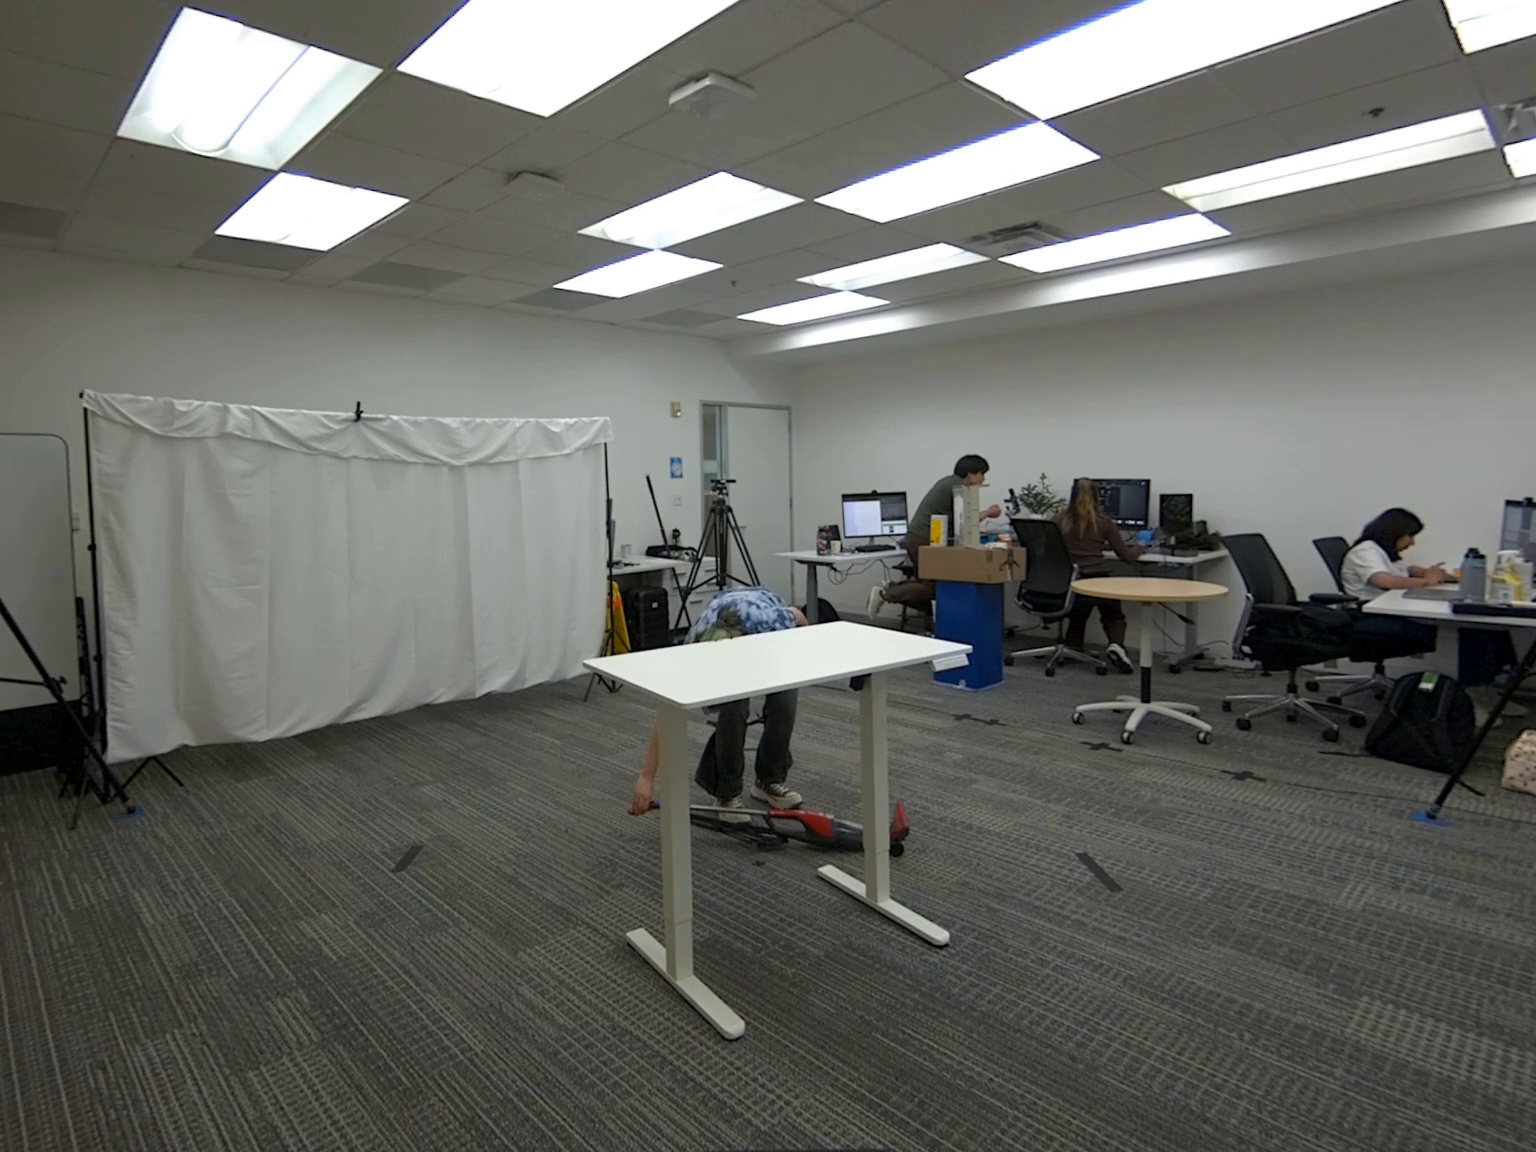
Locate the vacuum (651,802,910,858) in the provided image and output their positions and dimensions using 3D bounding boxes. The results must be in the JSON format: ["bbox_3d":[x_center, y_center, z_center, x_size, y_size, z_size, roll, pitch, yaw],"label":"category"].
[{"bbox_3d":[-0.009,0.947,3.247,1.055,0.143,0.252,1,7,5],"label":"vacuum"}]
